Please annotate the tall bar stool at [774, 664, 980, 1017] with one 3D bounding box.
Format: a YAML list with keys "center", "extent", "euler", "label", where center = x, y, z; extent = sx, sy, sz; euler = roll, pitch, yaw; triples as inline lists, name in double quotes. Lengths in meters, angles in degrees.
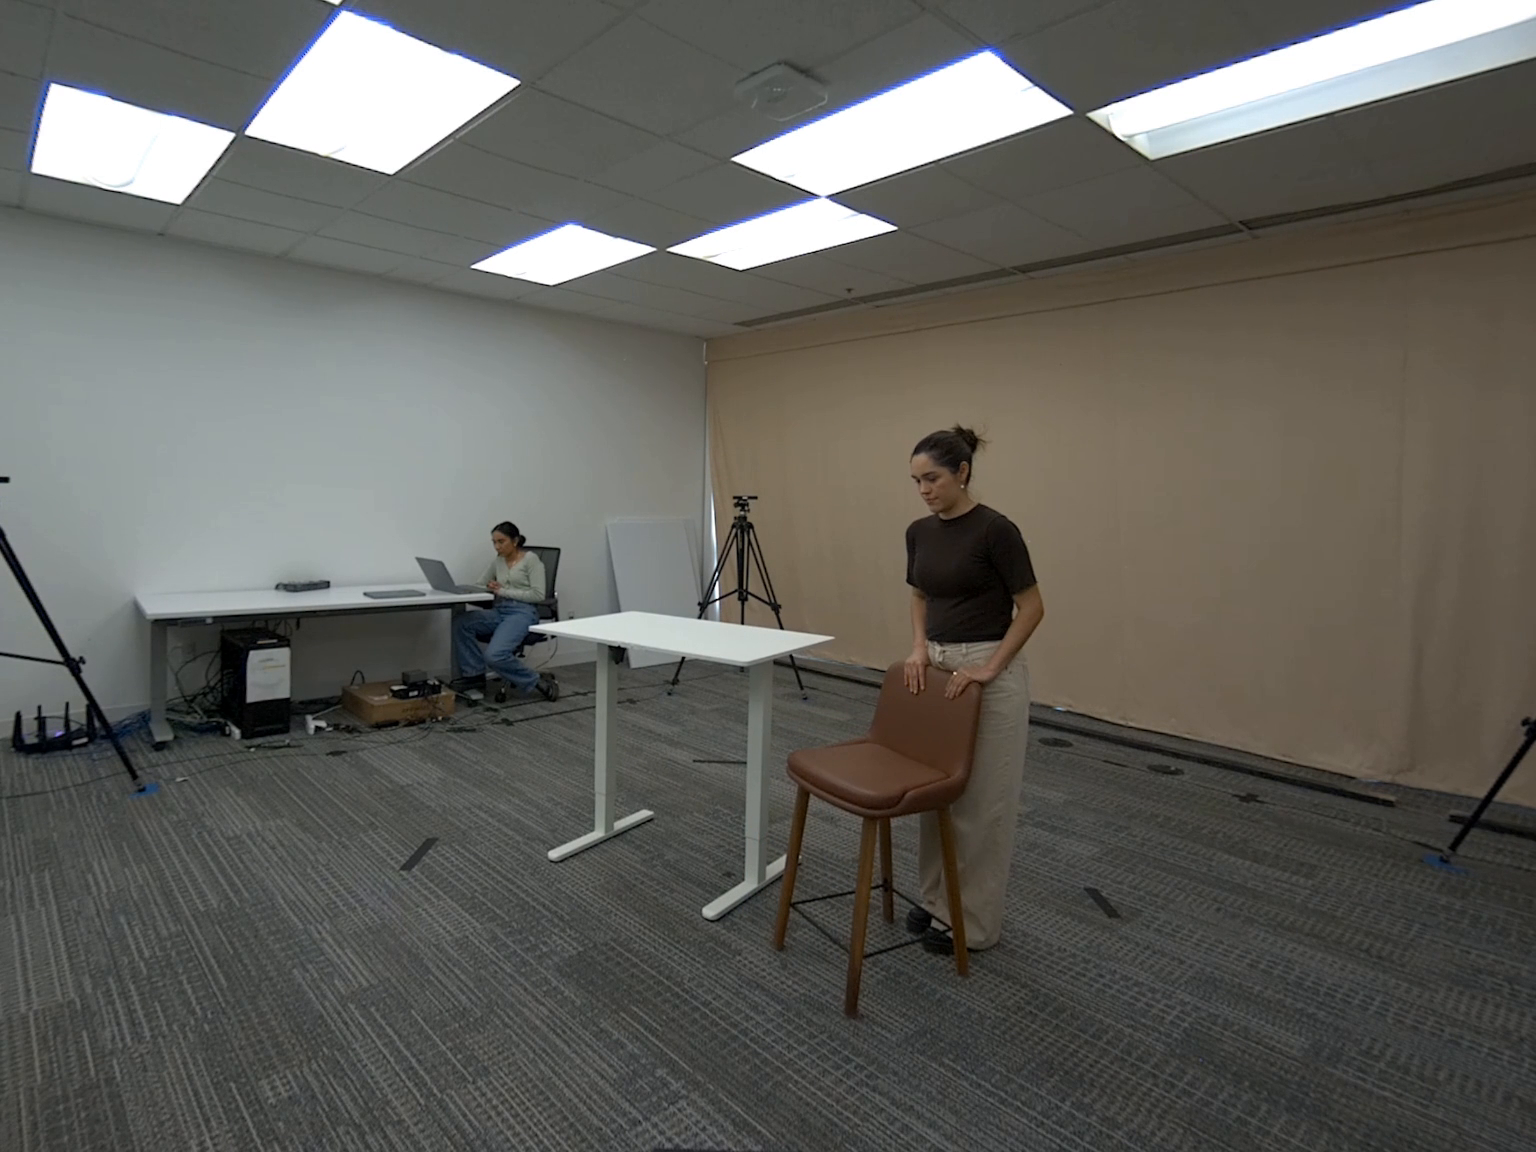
- center: [0.327, 0.731, 2.508]
  extent: [0.458, 0.888, 0.467]
  euler: [1, 4, -30]
  label: "tall bar stool"
